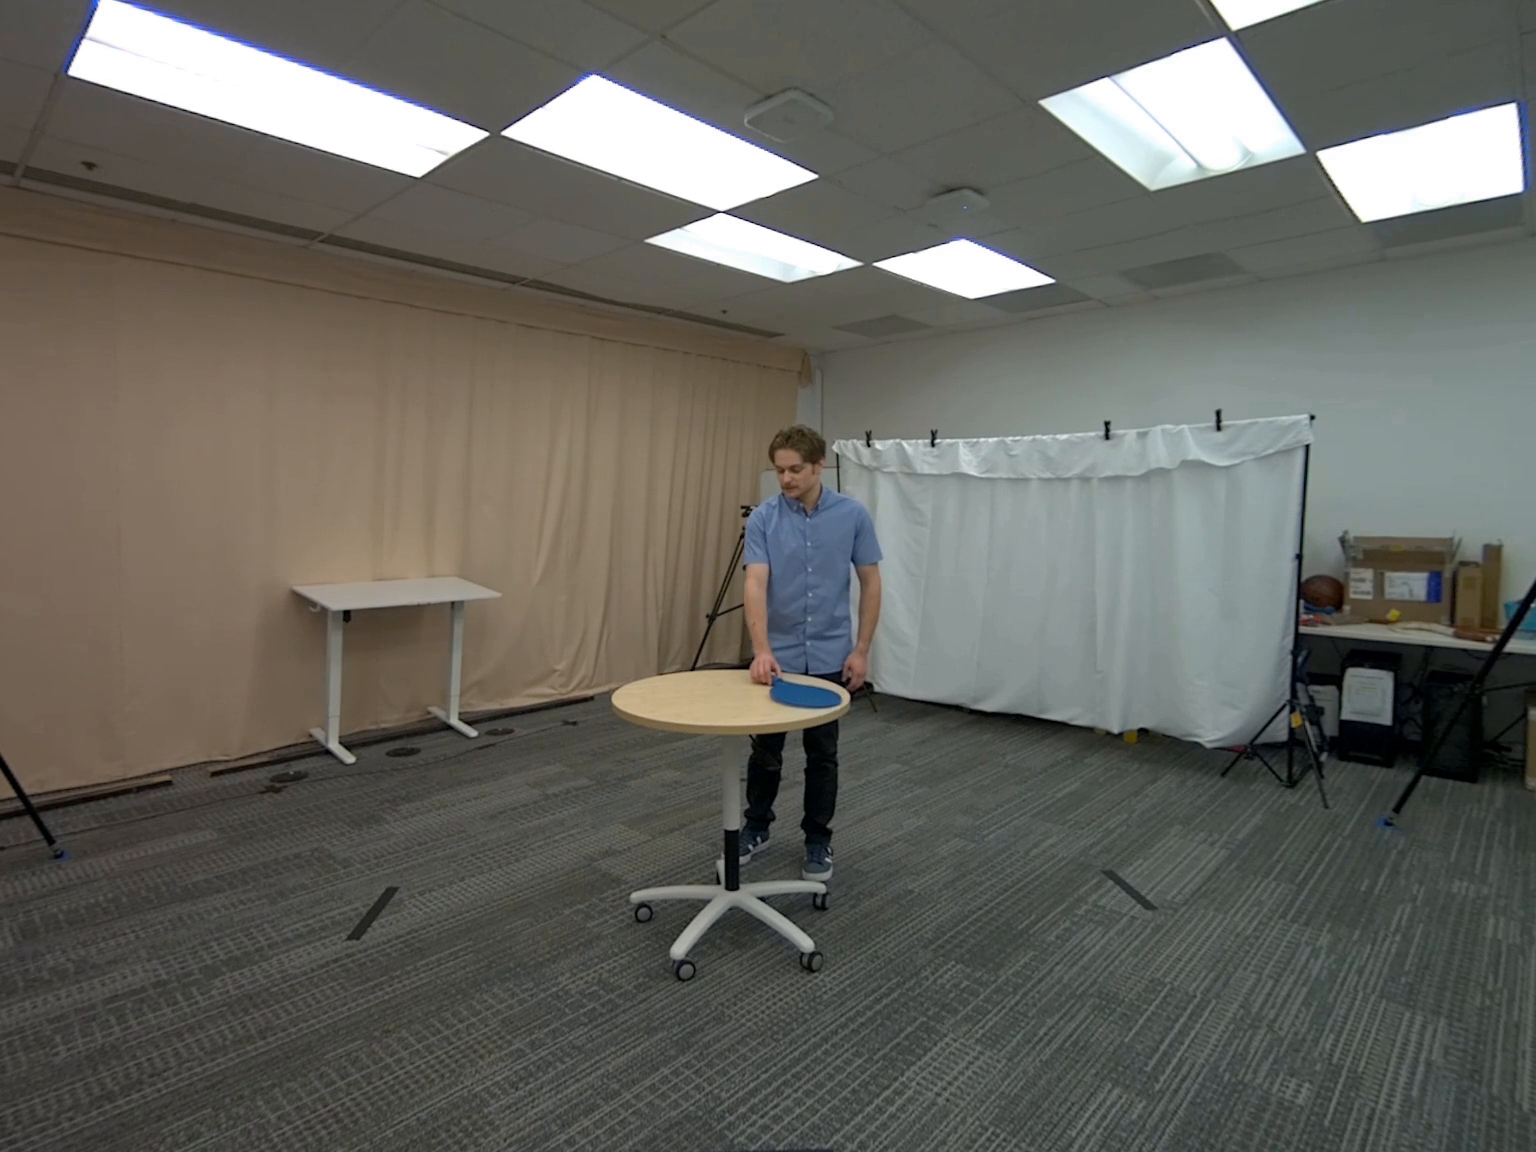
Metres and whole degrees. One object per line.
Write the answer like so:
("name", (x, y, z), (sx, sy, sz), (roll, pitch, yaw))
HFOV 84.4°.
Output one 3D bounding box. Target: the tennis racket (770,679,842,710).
("tennis racket", (0.084, 0.370, 2.722), (0.209, 0.031, 0.444), (-2, 7, -24))
